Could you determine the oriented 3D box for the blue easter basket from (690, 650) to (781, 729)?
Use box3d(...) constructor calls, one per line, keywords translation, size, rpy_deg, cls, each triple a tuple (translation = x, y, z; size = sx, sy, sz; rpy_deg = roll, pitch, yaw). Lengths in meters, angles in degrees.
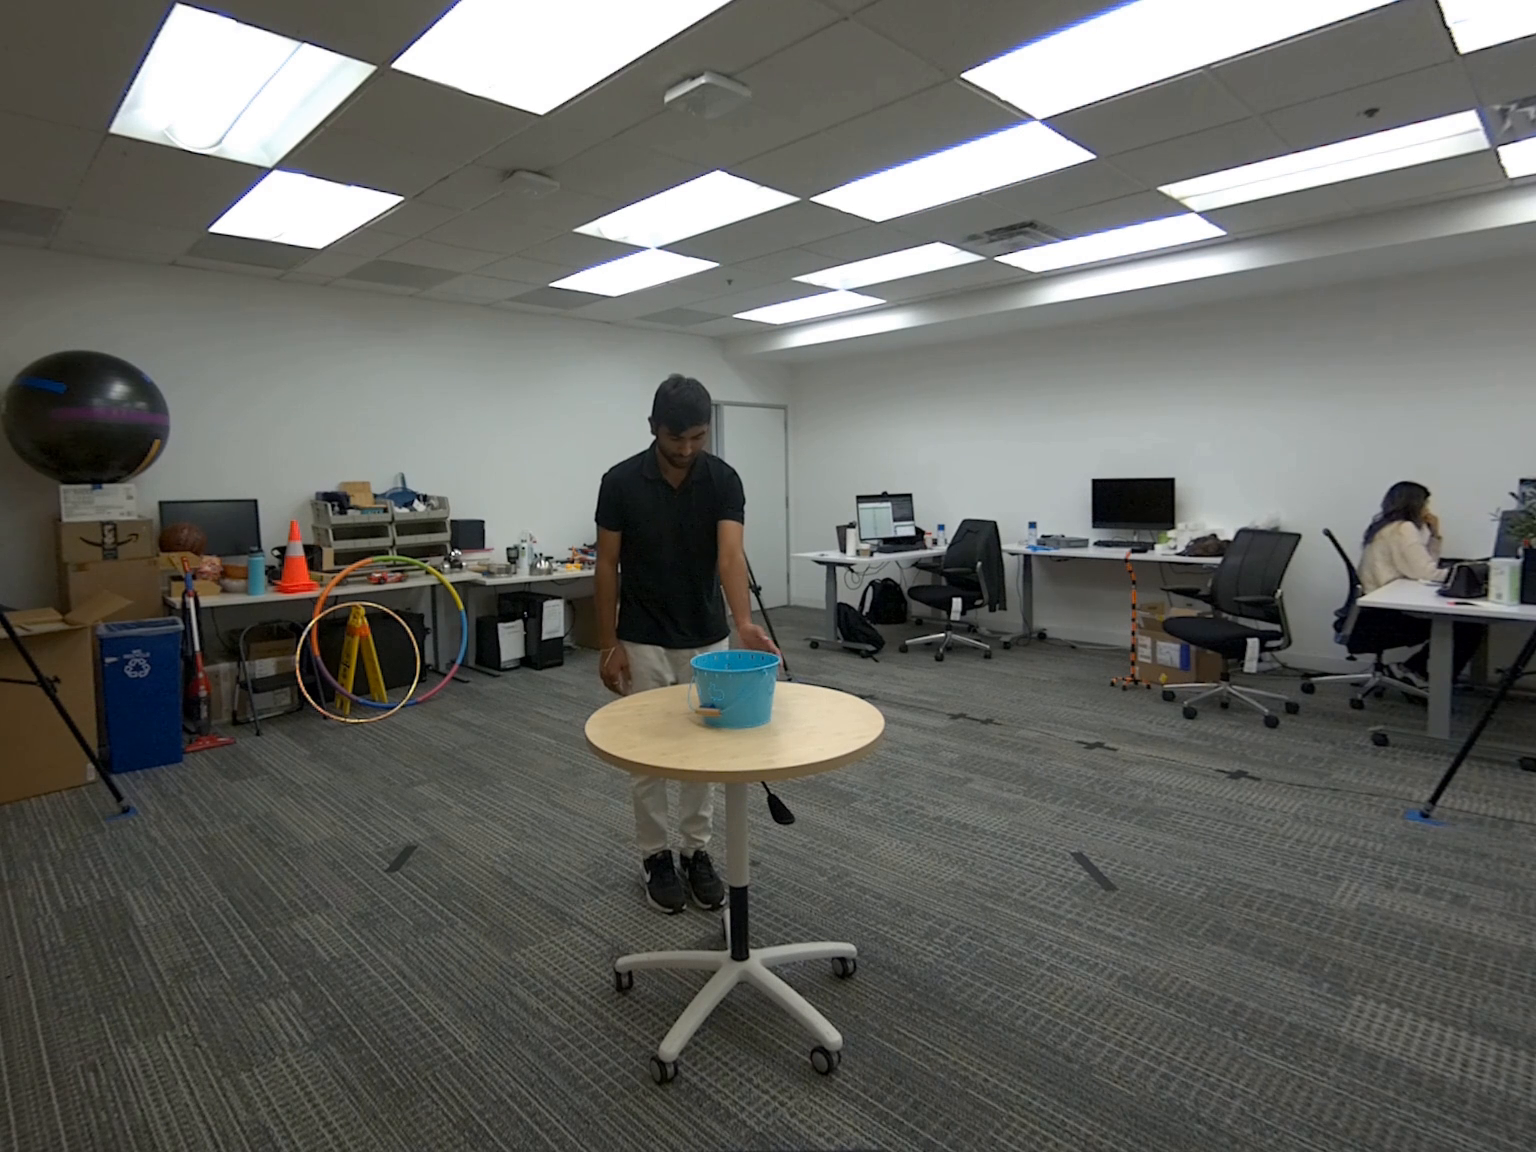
box3d(translation=(-0.087, 0.296, 2.203), size=(0.243, 0.155, 0.245), rpy_deg=(-1, 6, -2), cls="blue easter basket")
